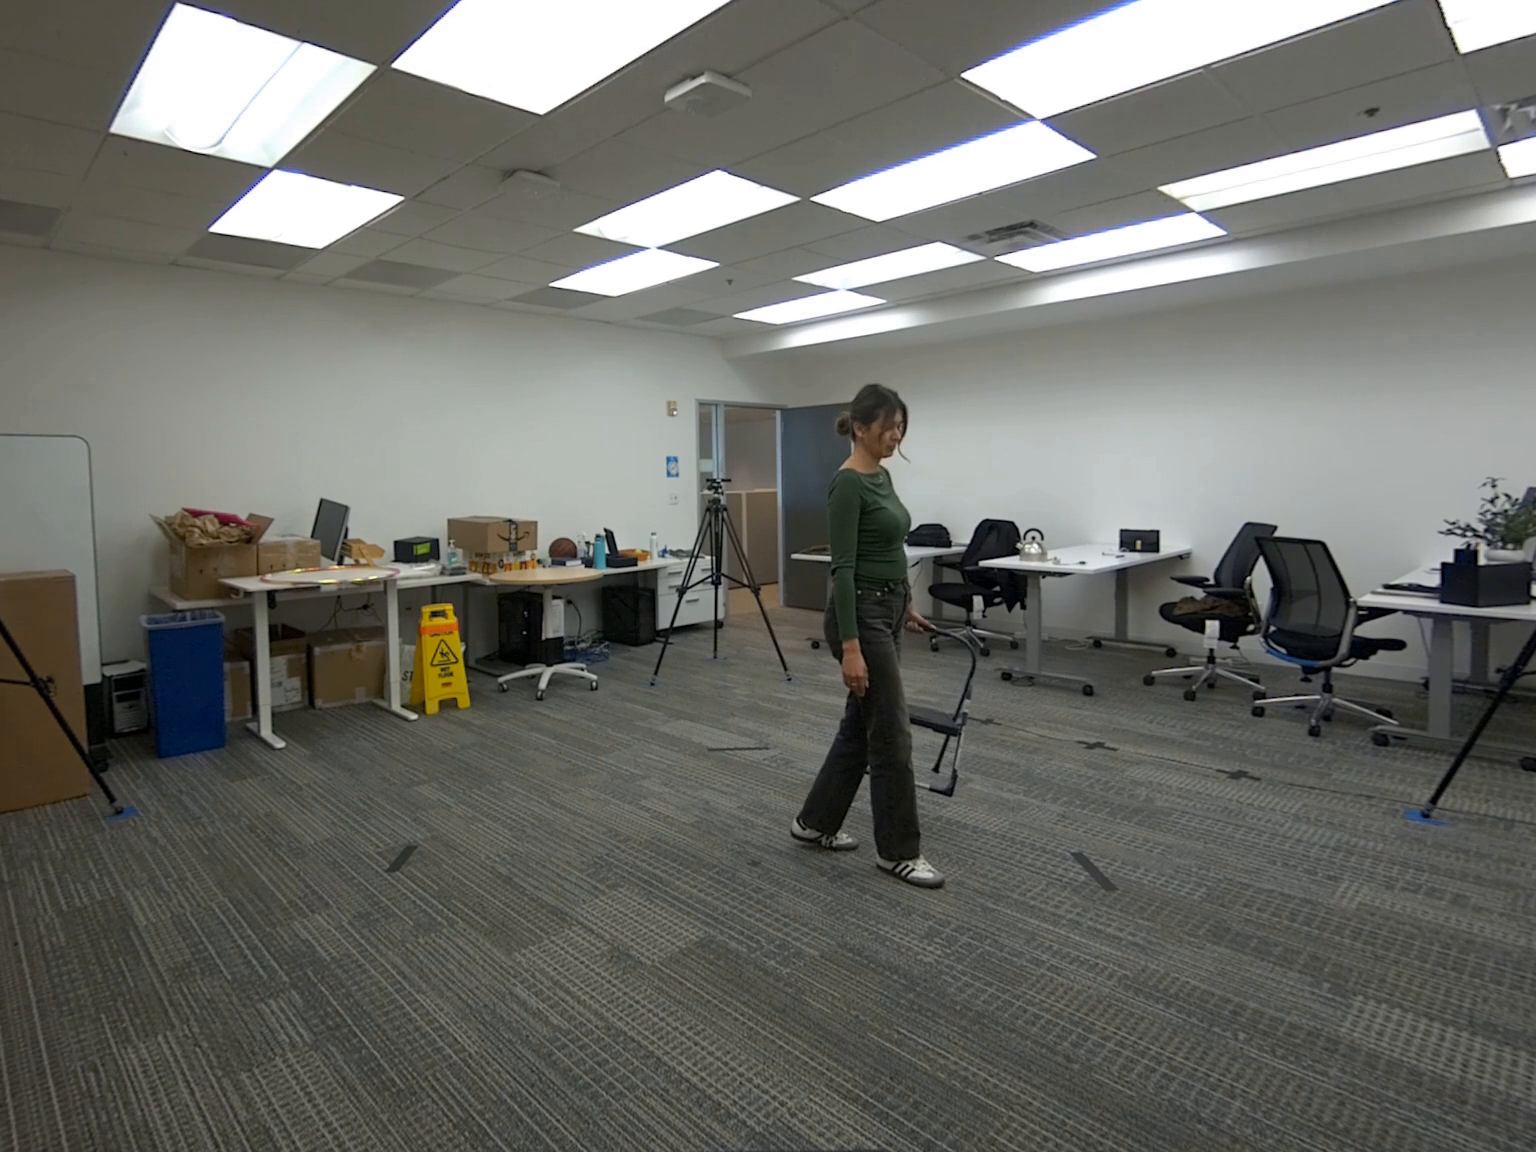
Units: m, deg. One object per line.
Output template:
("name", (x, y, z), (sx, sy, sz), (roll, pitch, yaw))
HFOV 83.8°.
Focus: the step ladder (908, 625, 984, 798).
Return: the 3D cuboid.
("step ladder", (0.585, 0.493, 3.417), (0.432, 0.605, 0.349), (13, 3, 2))
